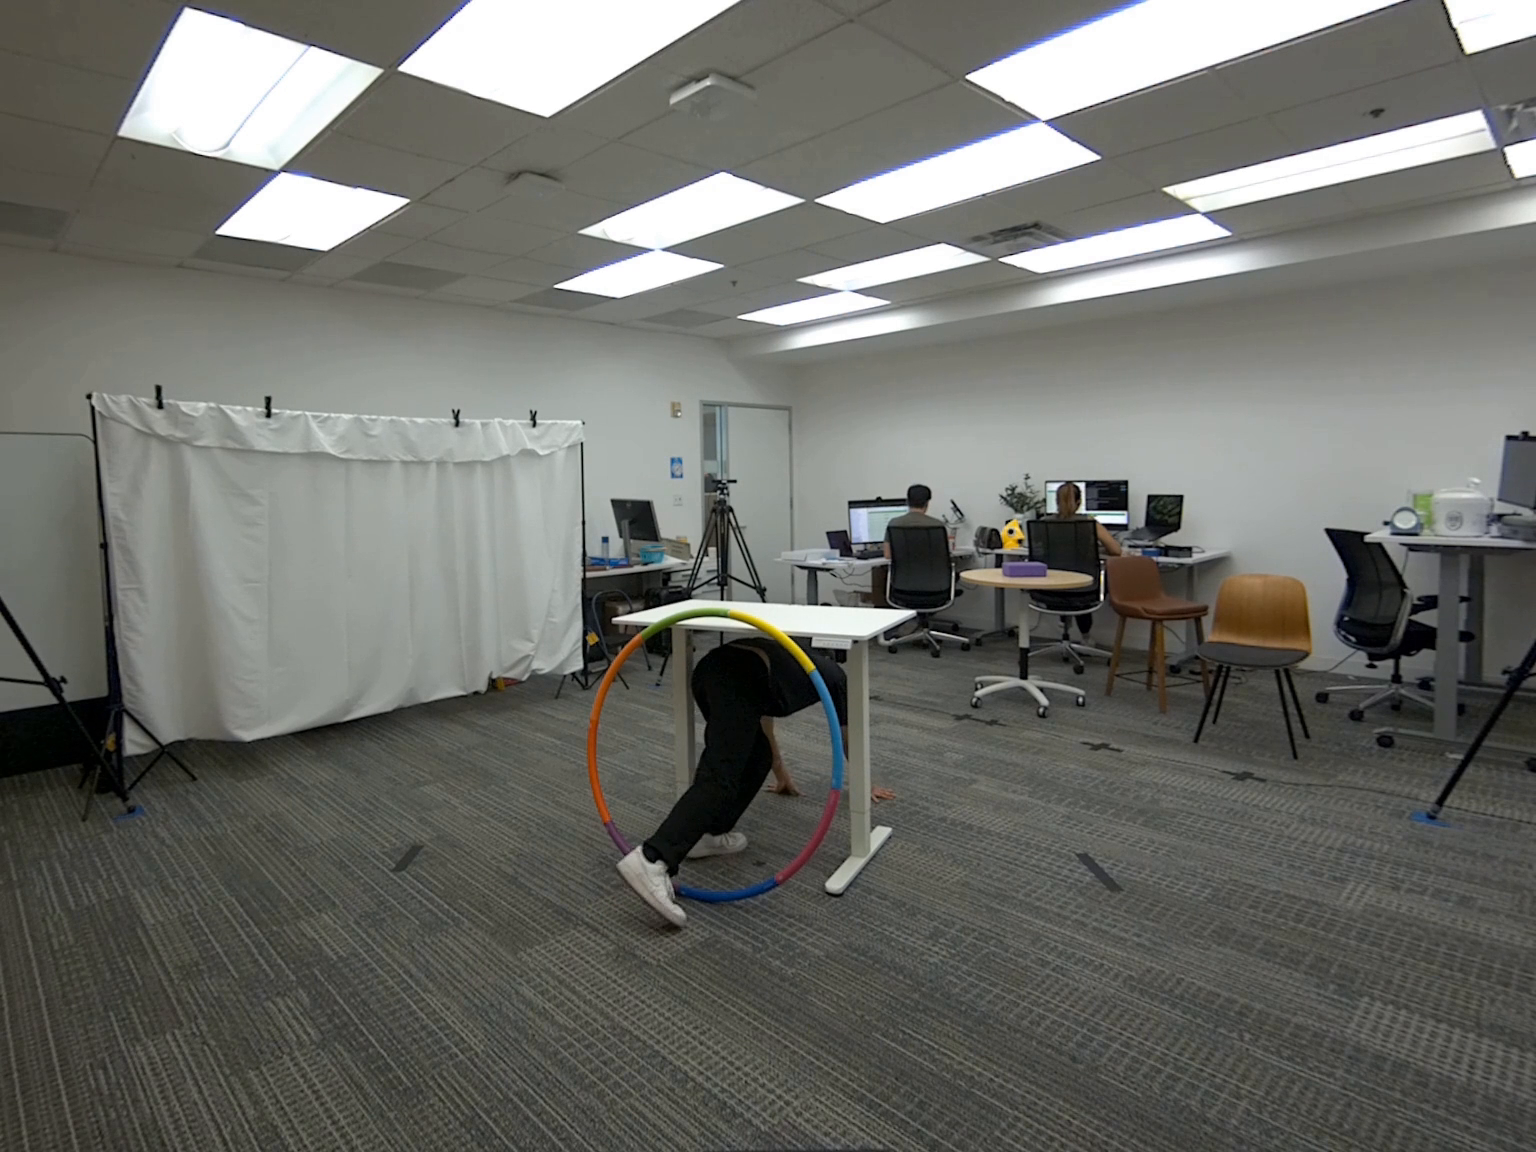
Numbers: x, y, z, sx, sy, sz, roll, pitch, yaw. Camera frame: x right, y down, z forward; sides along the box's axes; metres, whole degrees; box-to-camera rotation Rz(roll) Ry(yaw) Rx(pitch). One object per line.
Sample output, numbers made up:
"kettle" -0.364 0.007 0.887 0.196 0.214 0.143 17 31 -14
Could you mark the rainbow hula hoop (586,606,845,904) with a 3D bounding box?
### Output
"rainbow hula hoop" -0.208 0.601 2.931 1.003 0.984 0.034 1 -7 28
